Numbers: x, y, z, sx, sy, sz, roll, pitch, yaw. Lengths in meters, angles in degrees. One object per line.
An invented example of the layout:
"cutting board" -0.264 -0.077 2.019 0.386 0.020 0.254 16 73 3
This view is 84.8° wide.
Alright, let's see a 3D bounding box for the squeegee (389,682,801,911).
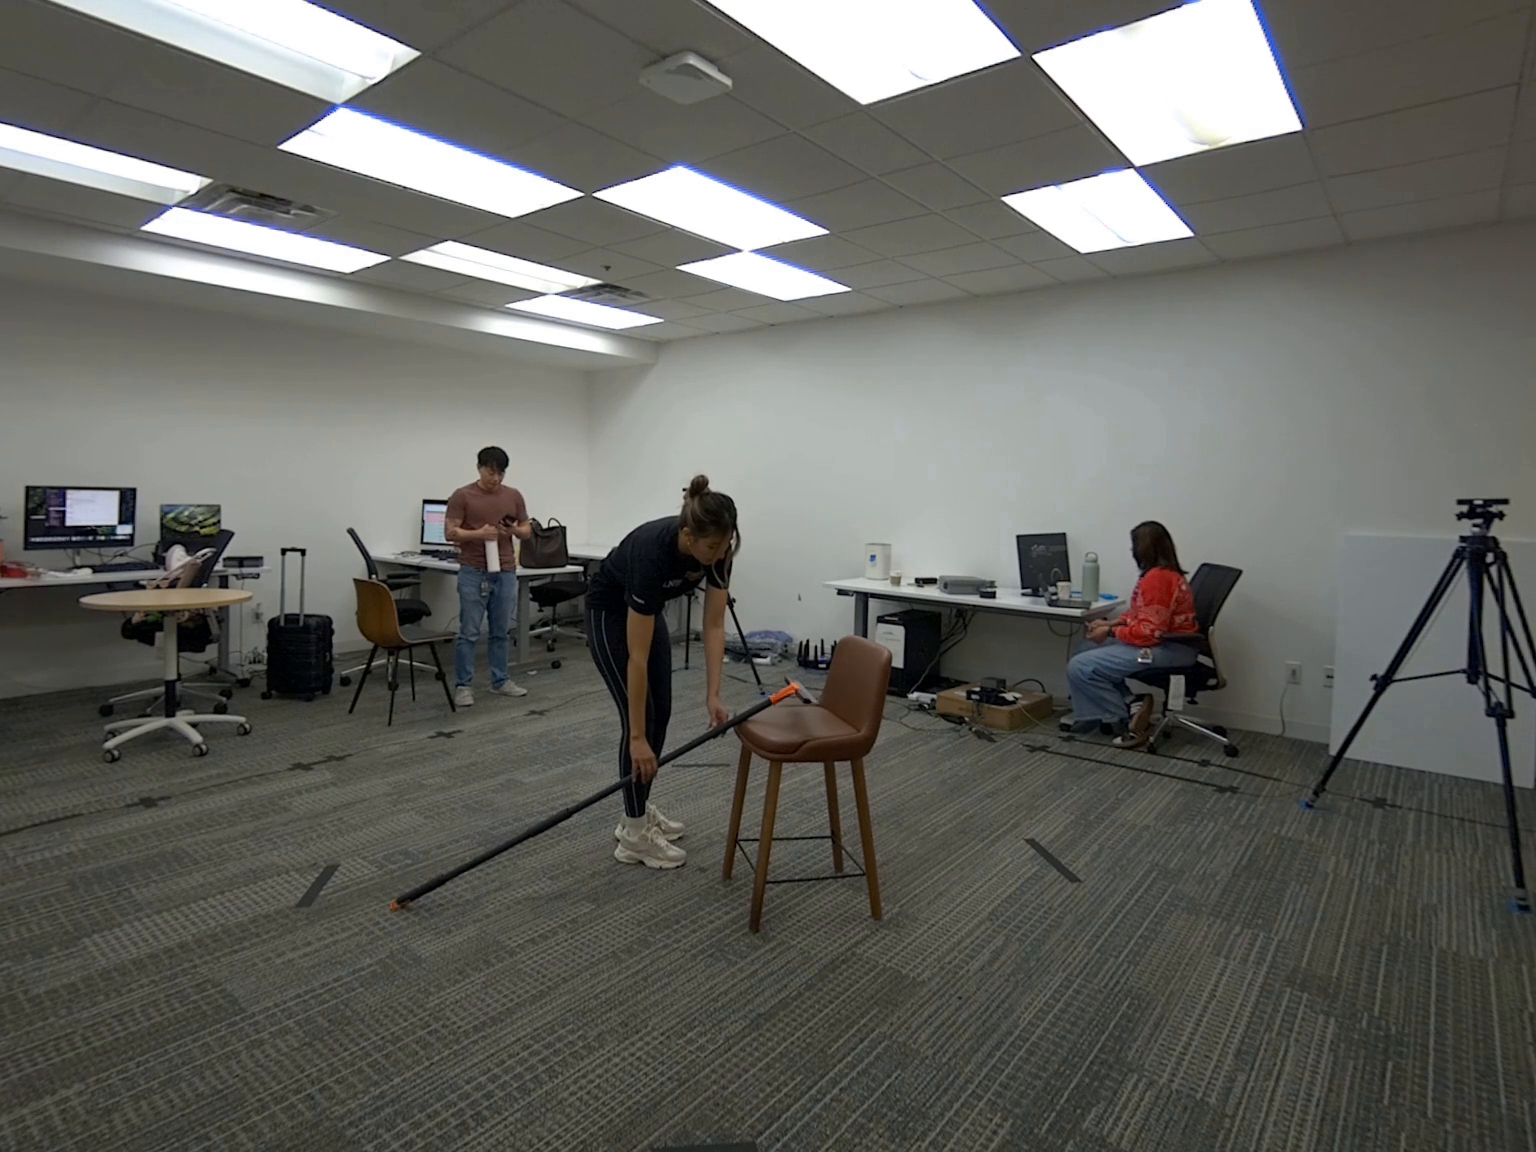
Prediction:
"squeegee" -0.562 0.725 2.830 1.533 0.435 0.053 -29 3 -6
